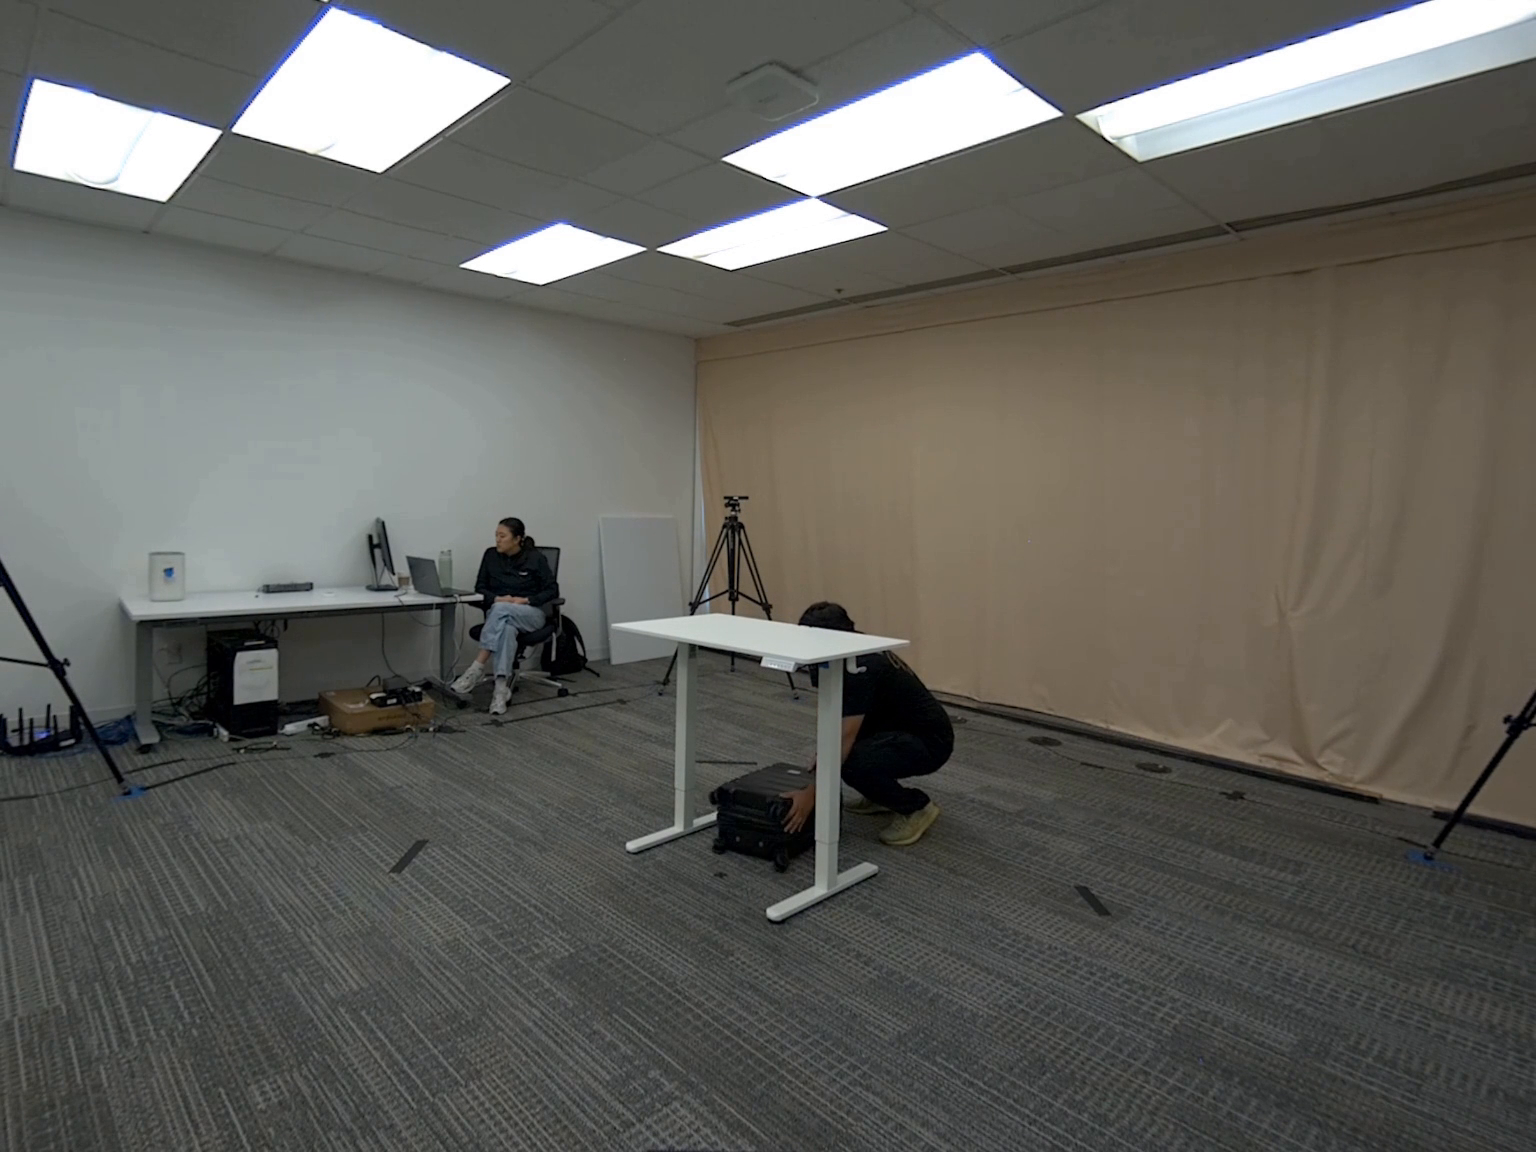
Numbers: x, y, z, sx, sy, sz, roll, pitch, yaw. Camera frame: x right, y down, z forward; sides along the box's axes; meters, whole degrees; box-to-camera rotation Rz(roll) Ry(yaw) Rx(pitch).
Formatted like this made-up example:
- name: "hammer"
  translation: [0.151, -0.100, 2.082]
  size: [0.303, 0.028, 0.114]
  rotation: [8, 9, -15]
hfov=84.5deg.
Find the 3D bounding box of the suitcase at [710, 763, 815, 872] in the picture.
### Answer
- name: "suitcase"
  translation: [0.046, 0.951, 3.432]
  size: [0.383, 0.248, 0.538]
  rotation: [1, 4, 32]
